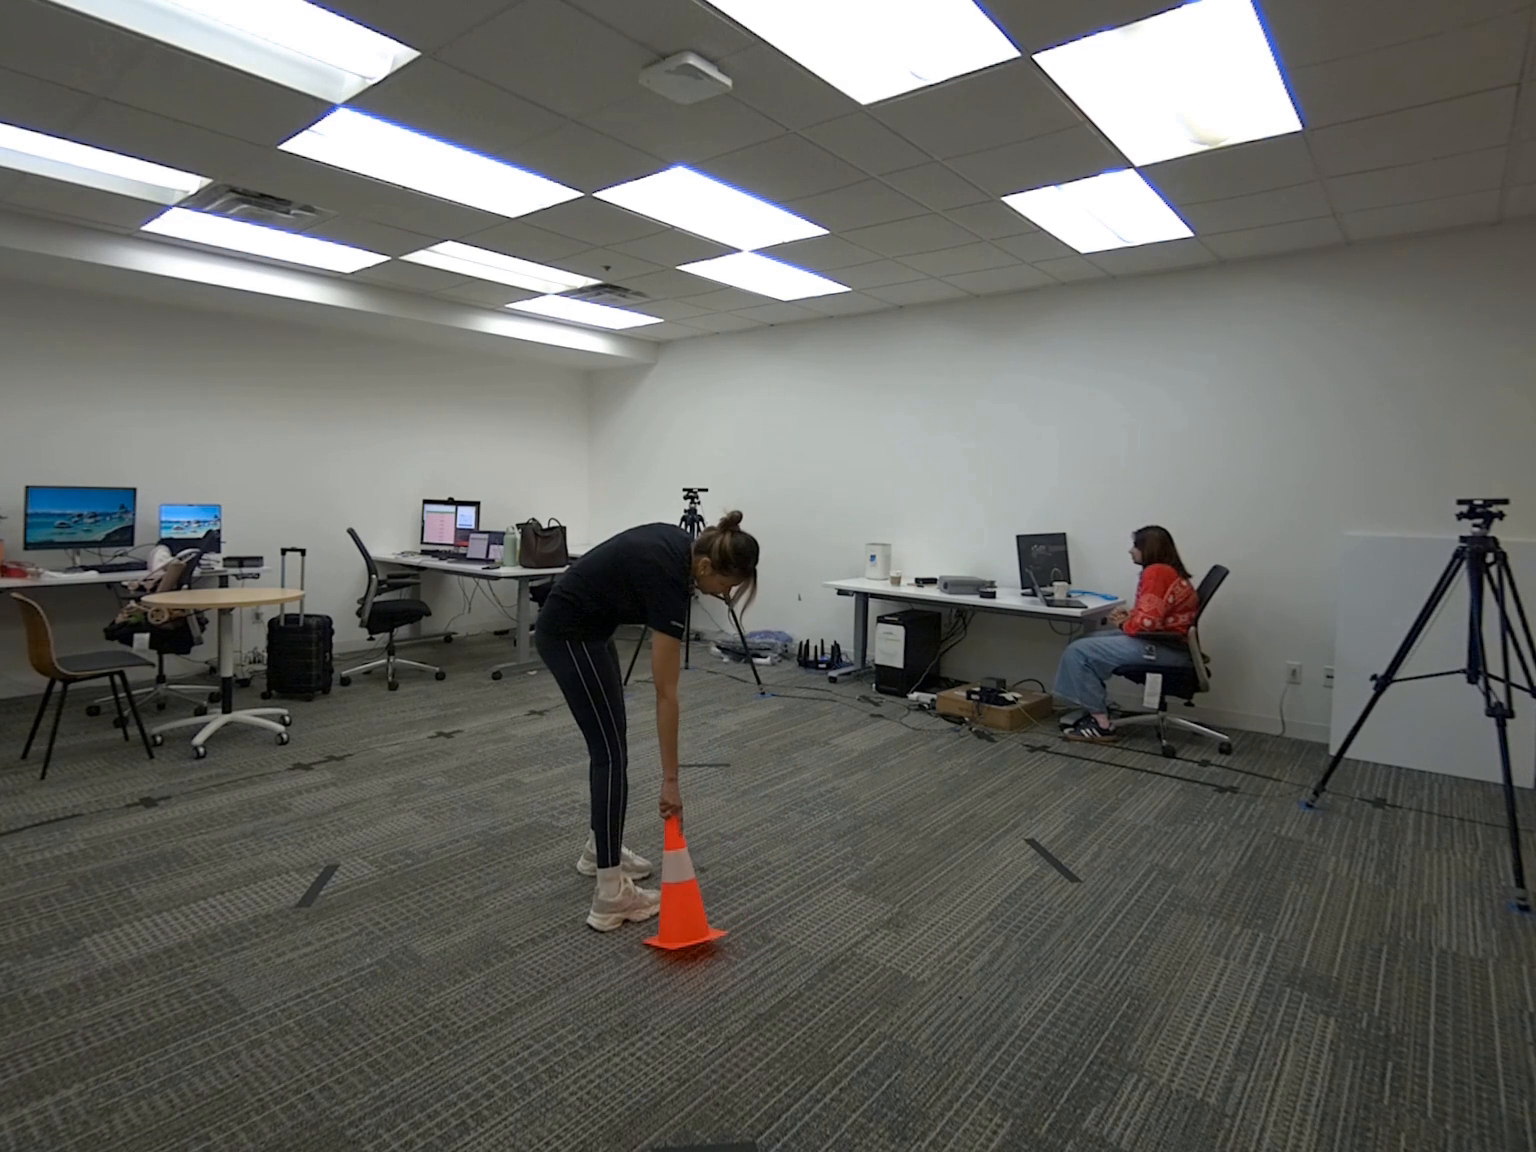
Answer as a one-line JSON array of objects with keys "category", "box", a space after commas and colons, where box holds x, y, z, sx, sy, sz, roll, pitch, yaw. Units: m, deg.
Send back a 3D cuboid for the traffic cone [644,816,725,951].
[{"category": "traffic cone", "box": [-0.283, 0.913, 2.622, 0.197, 0.388, 0.209, 1, -14, -38]}]
